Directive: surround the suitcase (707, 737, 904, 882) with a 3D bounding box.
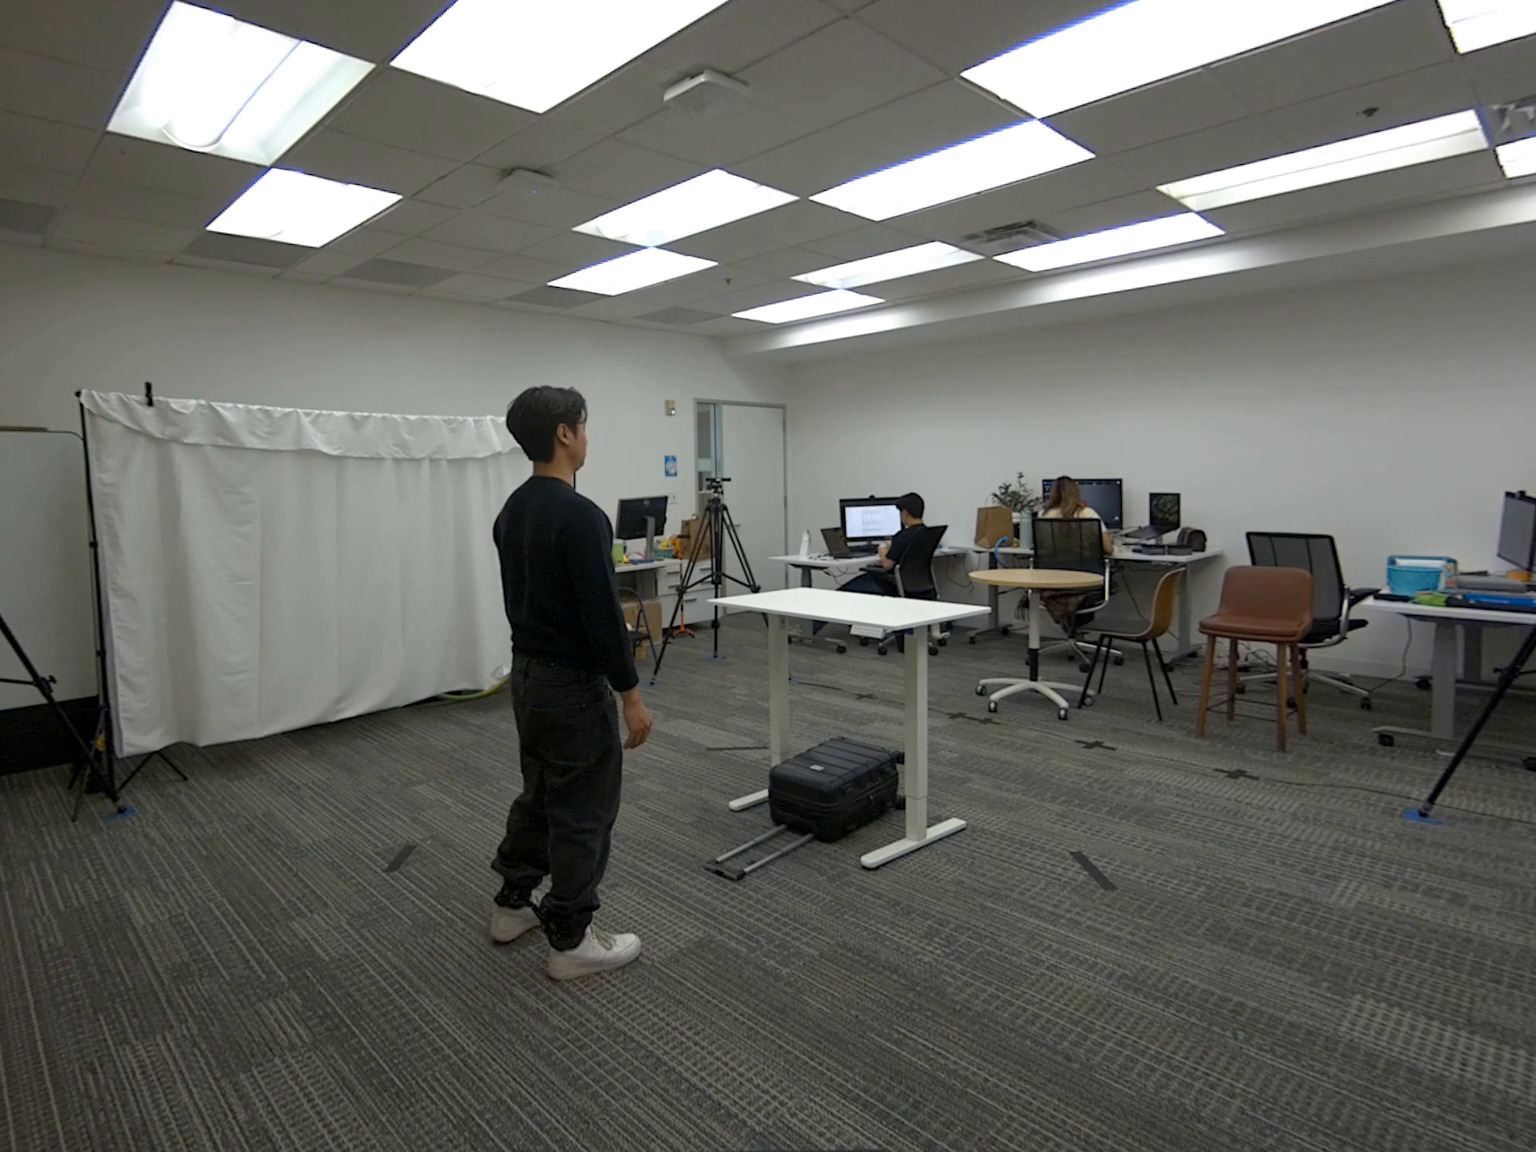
[{"bbox_3d":[0.146,0.883,3.359,0.396,0.256,0.953,5,8,42],"label":"suitcase"}]
